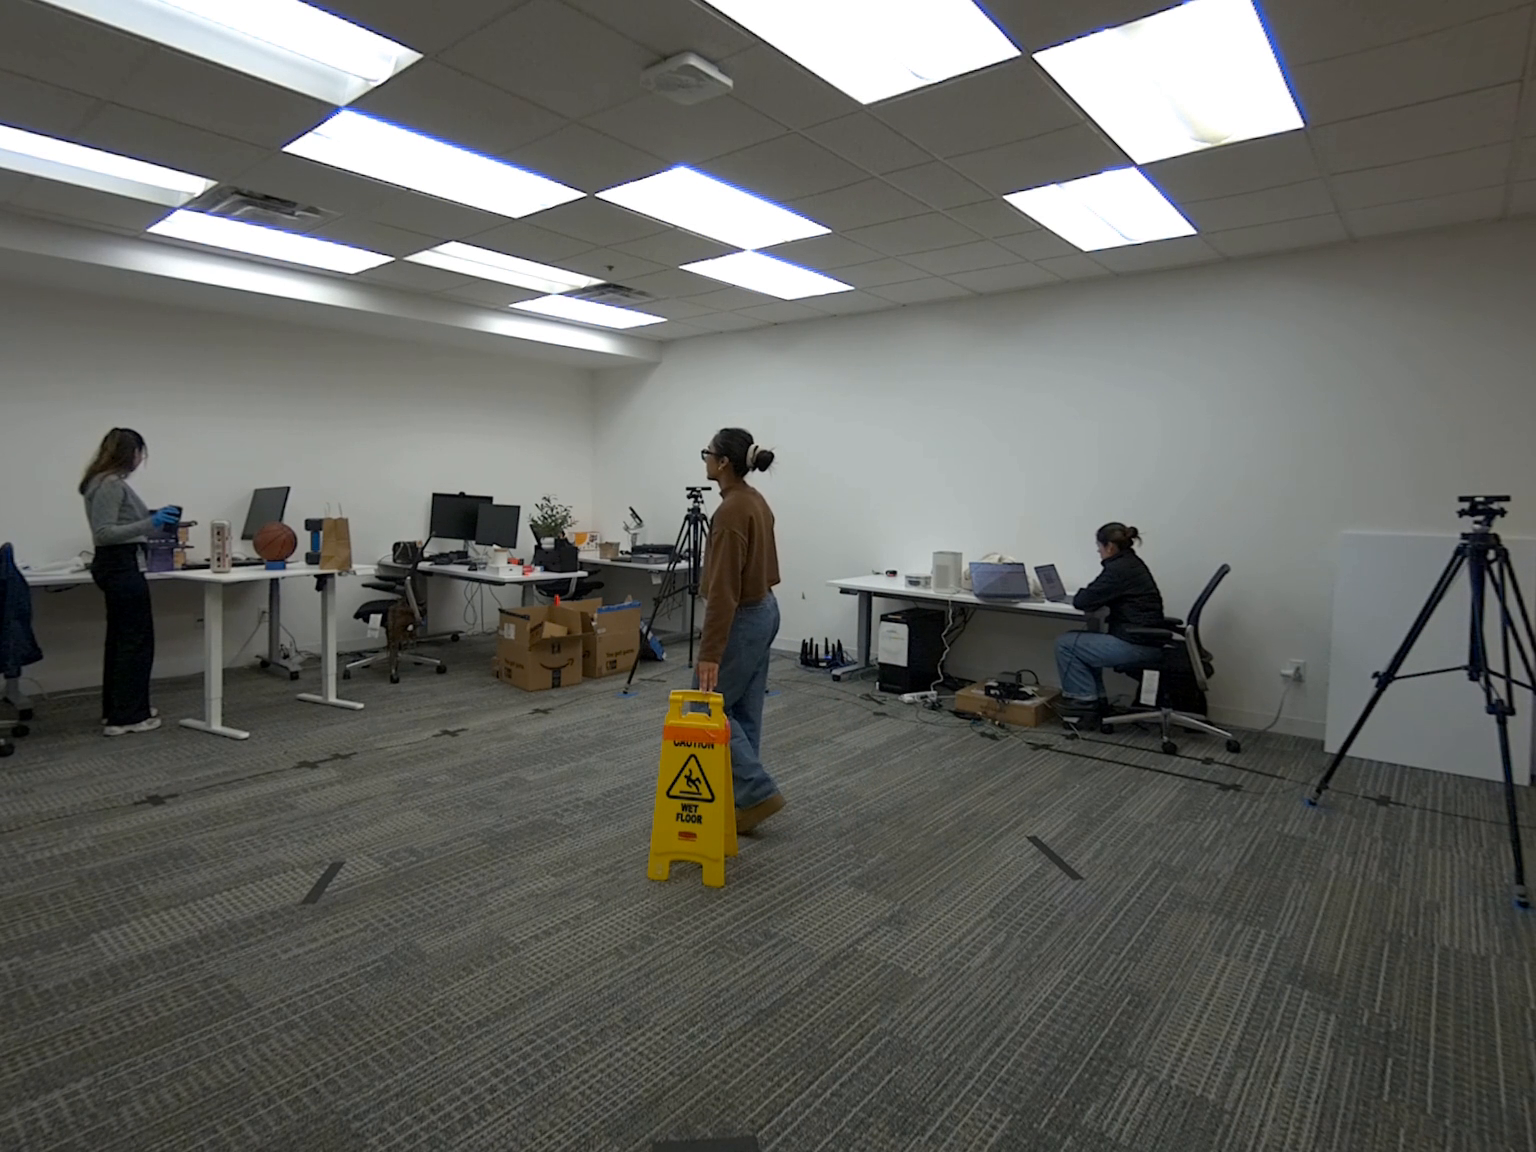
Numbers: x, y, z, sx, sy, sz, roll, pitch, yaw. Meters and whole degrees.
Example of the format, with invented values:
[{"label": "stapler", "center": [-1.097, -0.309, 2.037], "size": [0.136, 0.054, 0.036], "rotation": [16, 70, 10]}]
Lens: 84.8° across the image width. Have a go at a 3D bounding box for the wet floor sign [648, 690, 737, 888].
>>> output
[{"label": "wet floor sign", "center": [-0.280, 0.743, 3.099], "size": [0.286, 0.644, 0.287], "rotation": [1, 4, 11]}]
